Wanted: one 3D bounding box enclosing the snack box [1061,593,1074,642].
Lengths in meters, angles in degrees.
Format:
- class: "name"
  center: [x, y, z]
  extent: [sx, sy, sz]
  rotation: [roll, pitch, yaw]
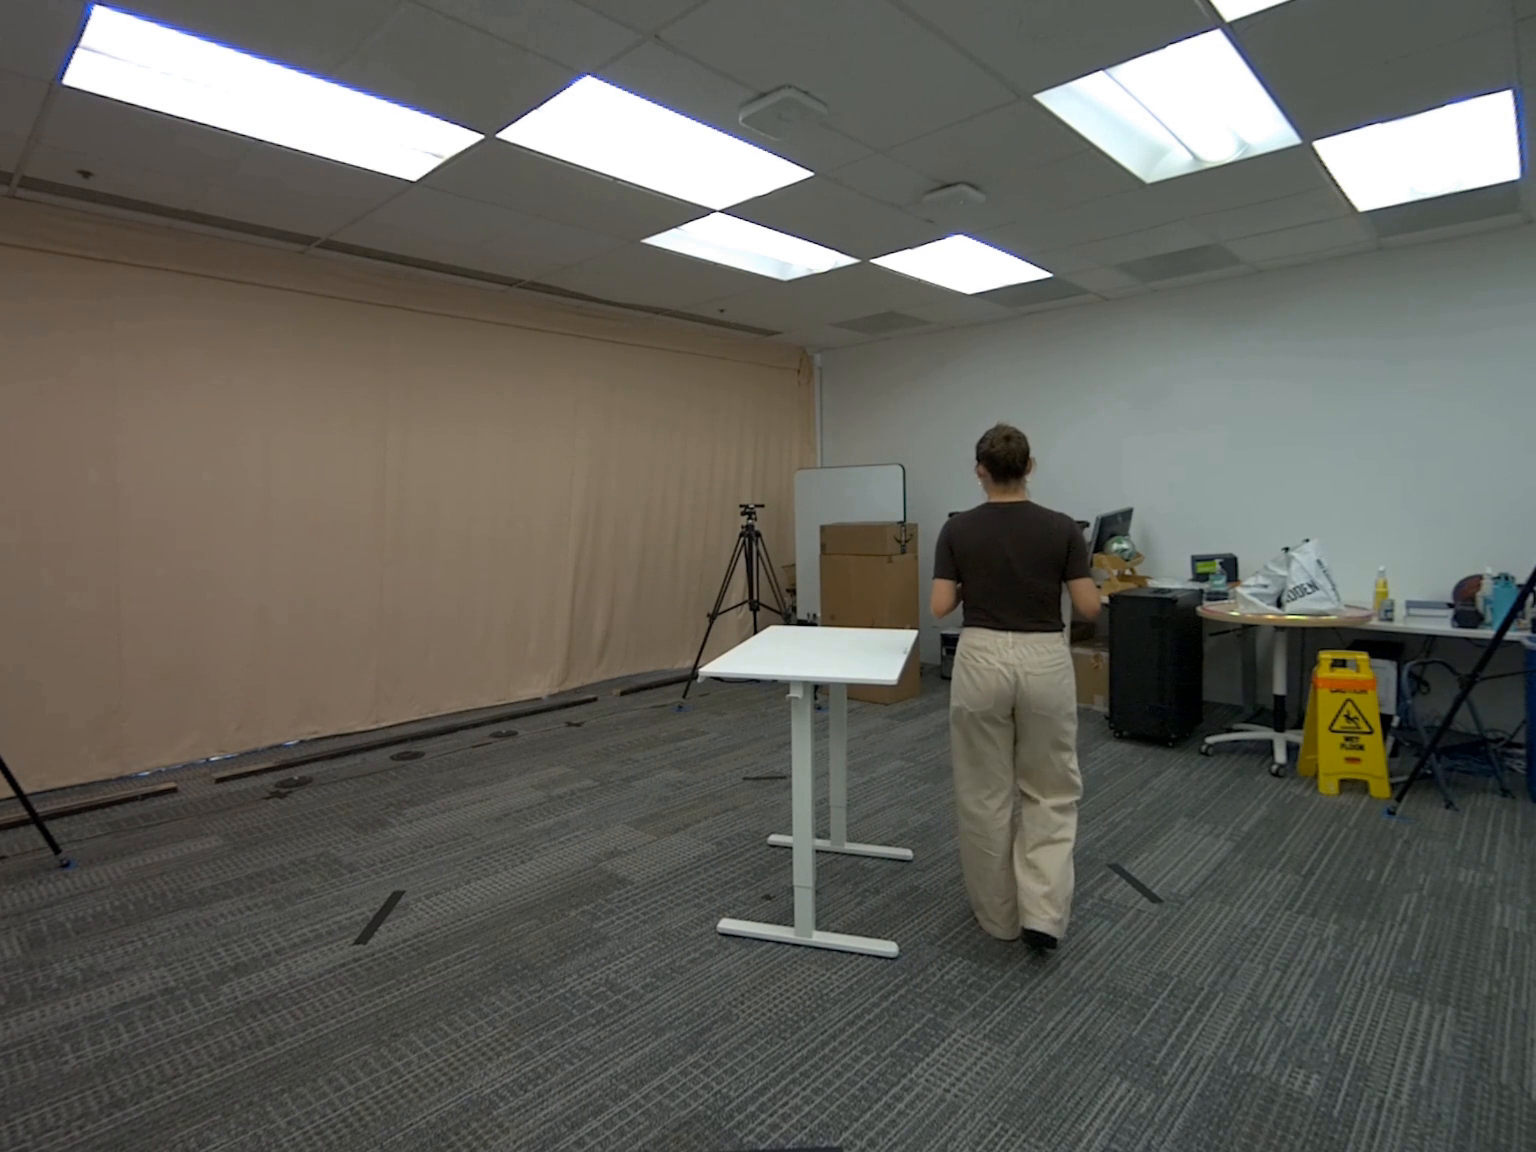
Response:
- class: "snack box"
  center: [0.888, 0.184, 2.933]
  extent: [0.347, 0.404, 0.202]
  rotation: [3, 4, 19]
